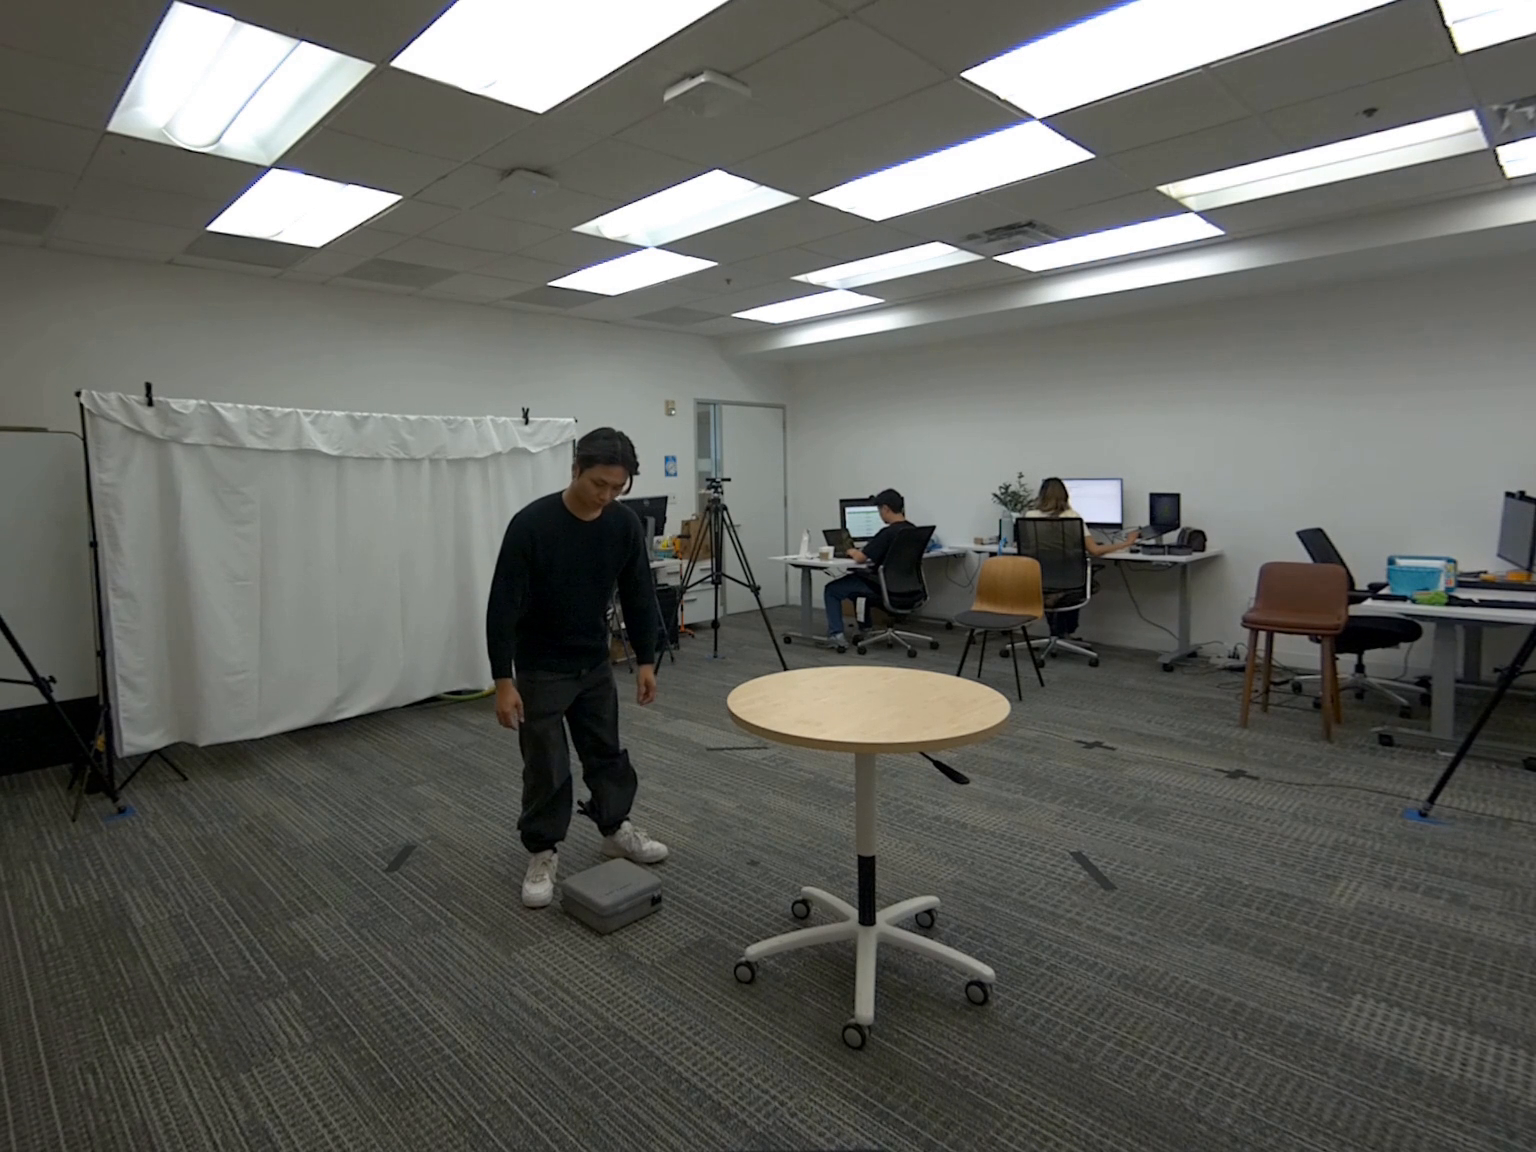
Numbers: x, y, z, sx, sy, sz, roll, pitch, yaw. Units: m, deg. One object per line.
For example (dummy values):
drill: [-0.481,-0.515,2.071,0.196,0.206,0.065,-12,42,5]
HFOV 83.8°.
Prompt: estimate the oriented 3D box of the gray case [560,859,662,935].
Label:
gray case: [-0.511,1.035,2.781,0.269,0.104,0.250,4,10,45]
